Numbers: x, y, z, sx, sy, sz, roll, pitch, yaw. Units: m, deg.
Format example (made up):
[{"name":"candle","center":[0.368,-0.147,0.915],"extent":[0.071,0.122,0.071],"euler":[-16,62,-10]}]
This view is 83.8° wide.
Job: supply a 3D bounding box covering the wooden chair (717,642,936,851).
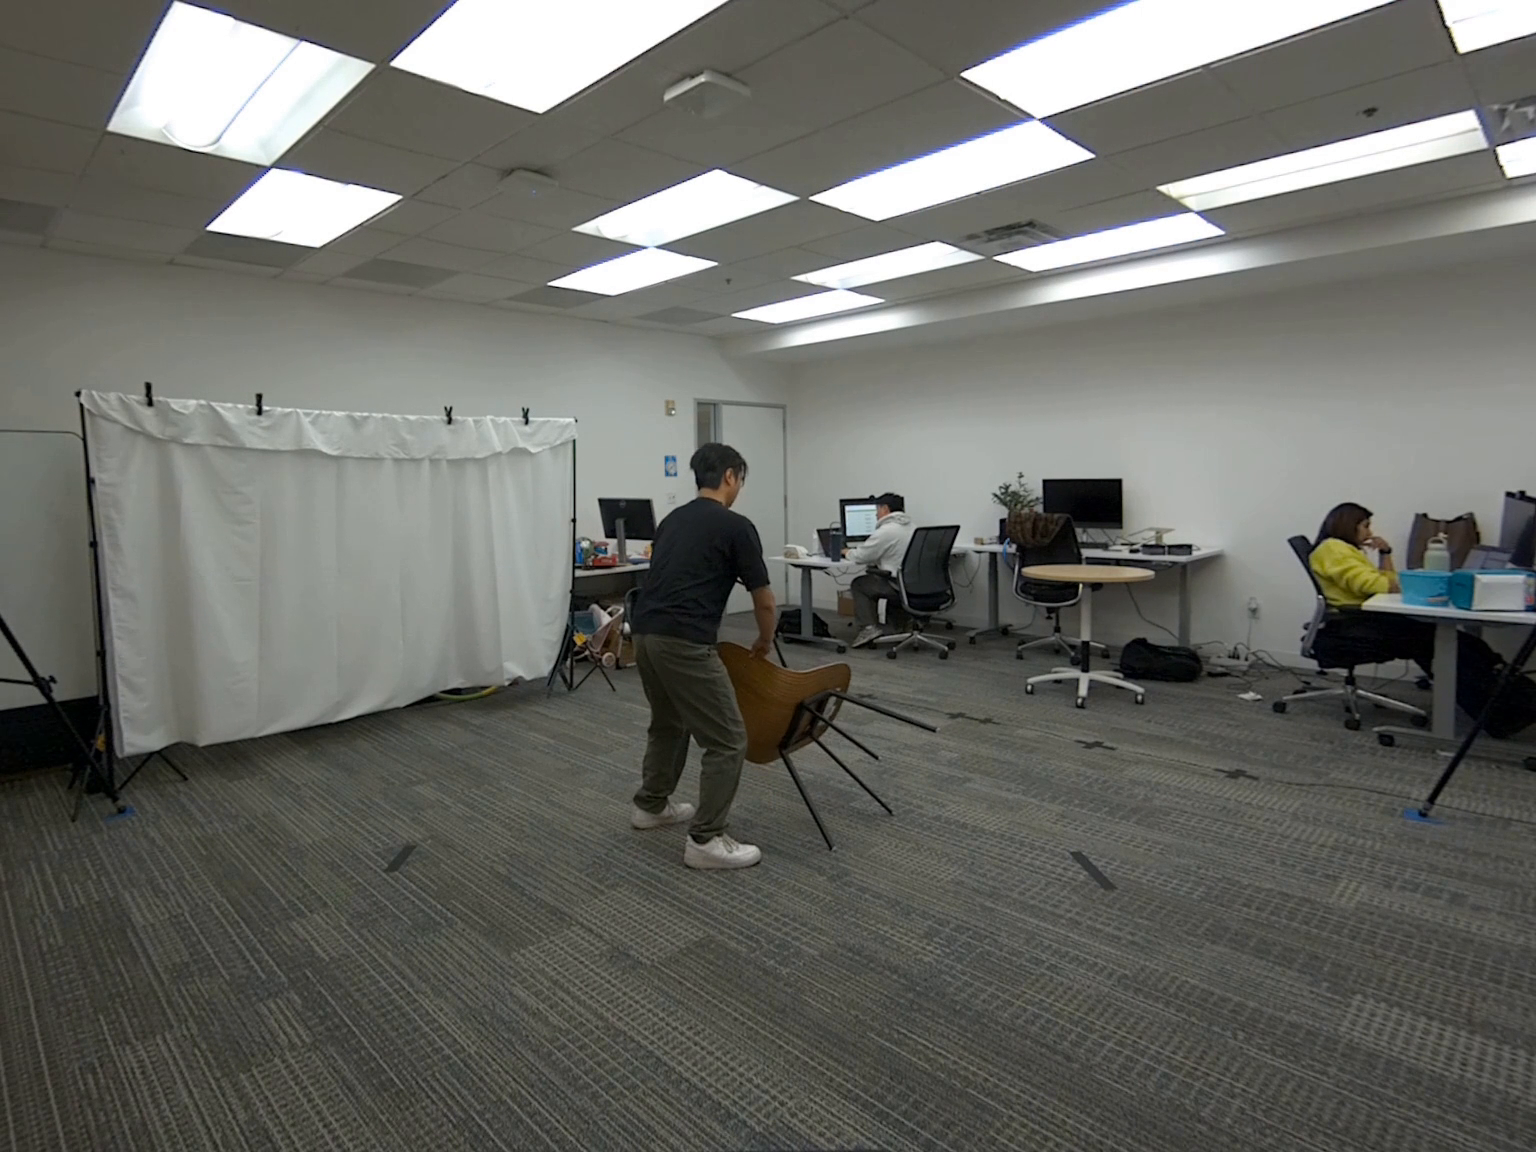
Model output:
[{"name":"wooden chair","center":[0.156,0.595,3.523],"extent":[0.907,0.473,0.511],"euler":[33,25,28]}]
